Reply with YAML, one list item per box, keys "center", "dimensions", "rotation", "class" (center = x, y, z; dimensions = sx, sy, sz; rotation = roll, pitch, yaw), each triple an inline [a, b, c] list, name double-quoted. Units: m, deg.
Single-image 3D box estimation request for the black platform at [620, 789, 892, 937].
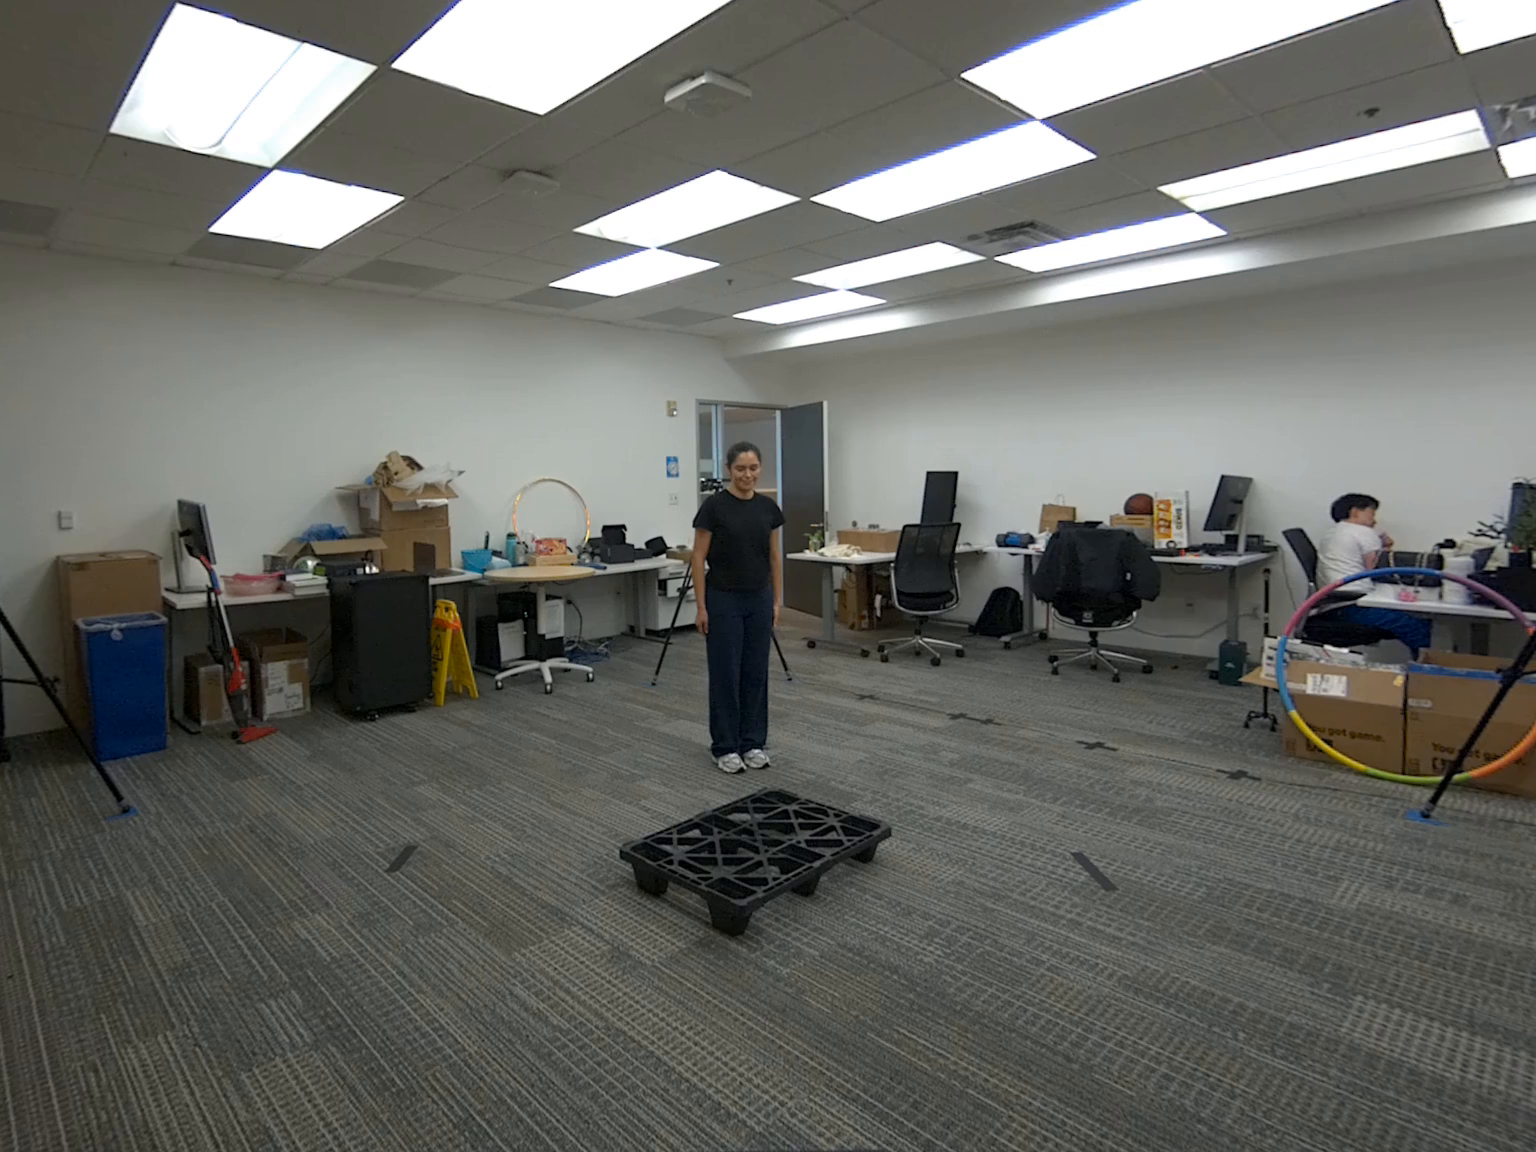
- center: [-0.039, 0.985, 3.049]
  dimensions: [0.624, 0.142, 0.785]
  rotation: [5, 9, 43]
  class: "black platform"
